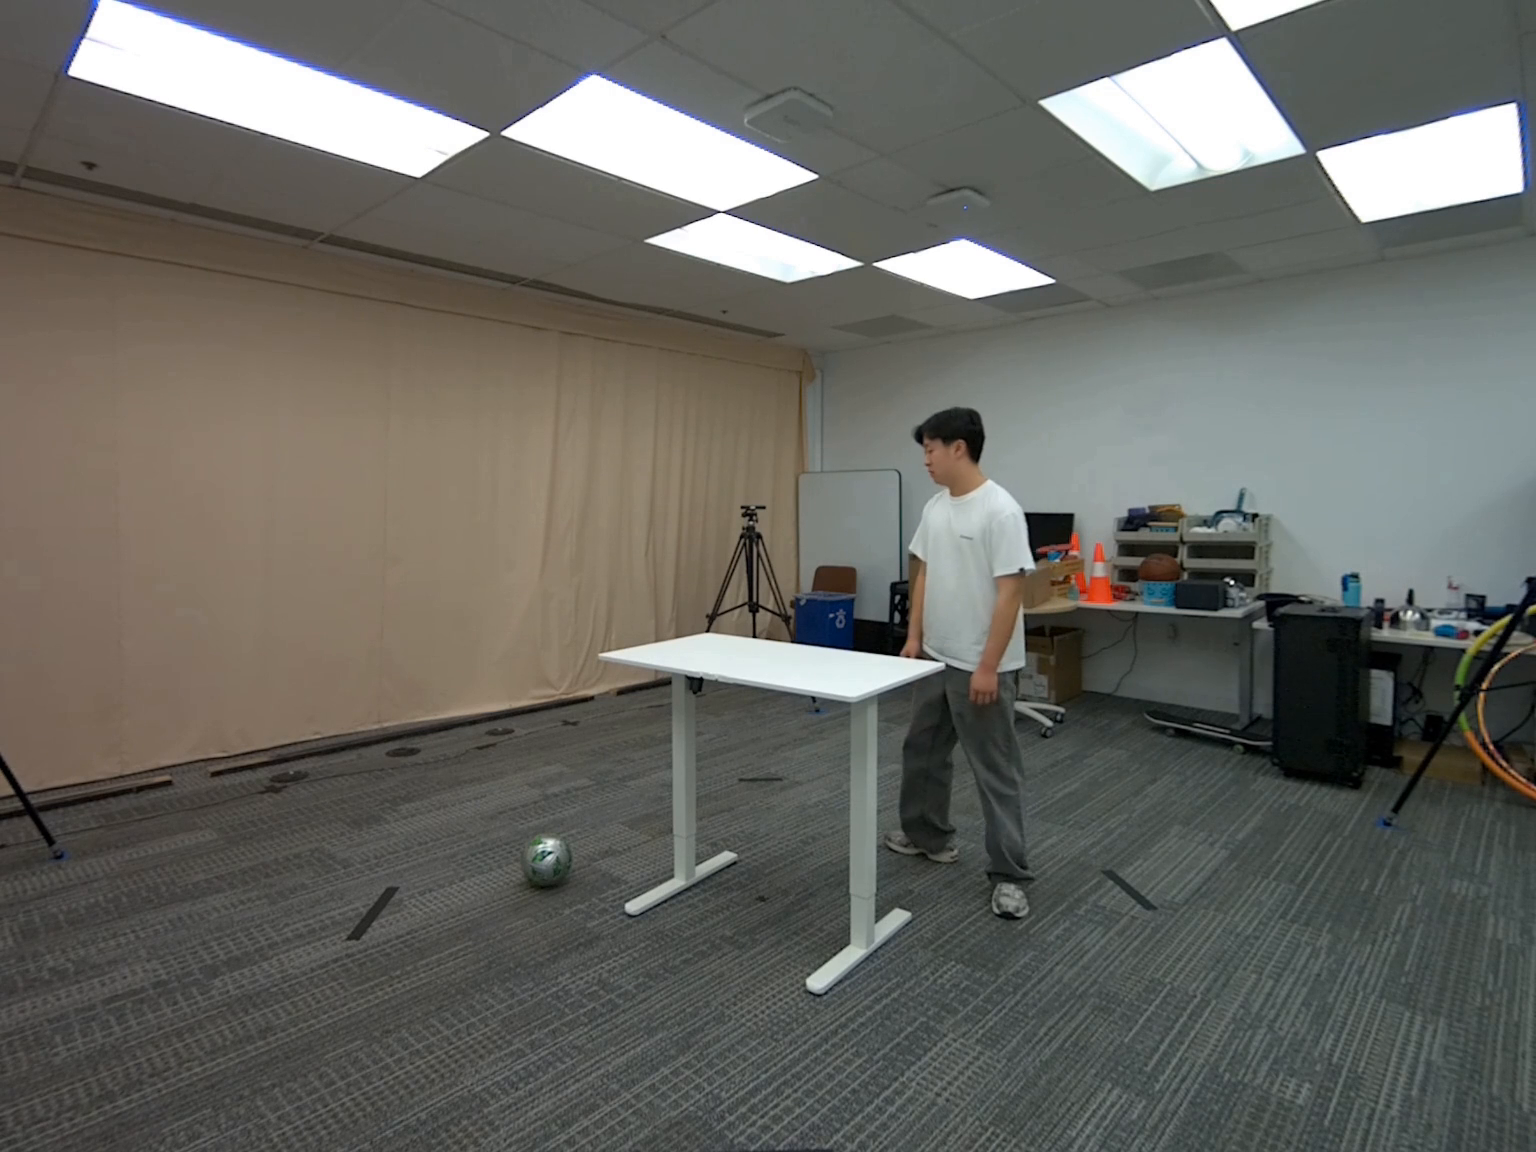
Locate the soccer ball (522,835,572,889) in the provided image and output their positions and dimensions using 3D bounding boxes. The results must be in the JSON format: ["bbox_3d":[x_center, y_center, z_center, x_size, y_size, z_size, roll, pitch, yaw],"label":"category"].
[{"bbox_3d":[-0.811,1.058,3.112,0.187,0.187,0.188,0,4,-2],"label":"soccer ball"}]
